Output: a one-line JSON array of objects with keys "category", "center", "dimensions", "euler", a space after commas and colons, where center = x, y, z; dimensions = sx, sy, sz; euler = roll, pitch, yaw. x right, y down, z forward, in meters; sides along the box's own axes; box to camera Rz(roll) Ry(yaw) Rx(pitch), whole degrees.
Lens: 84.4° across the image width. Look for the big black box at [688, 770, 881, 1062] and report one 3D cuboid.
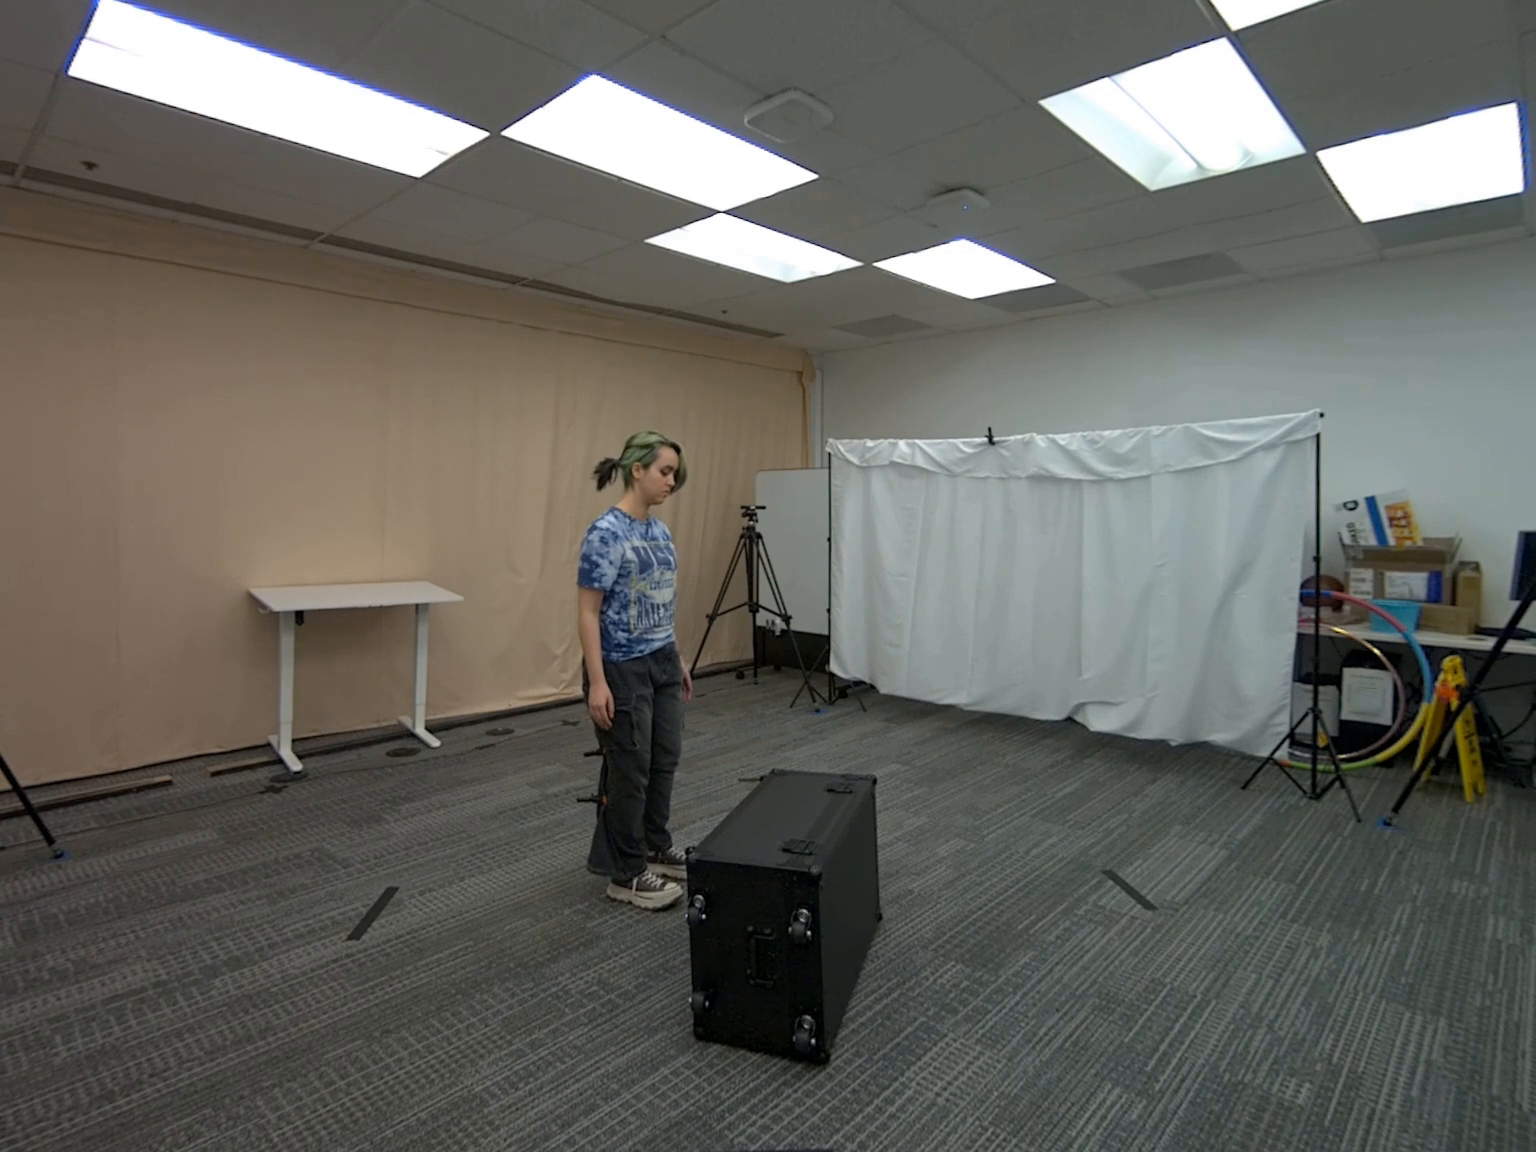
[{"category": "big black box", "center": [0.060, 0.931, 2.460], "dimensions": [0.404, 0.520, 0.845], "euler": [-2, 3, 19]}]
